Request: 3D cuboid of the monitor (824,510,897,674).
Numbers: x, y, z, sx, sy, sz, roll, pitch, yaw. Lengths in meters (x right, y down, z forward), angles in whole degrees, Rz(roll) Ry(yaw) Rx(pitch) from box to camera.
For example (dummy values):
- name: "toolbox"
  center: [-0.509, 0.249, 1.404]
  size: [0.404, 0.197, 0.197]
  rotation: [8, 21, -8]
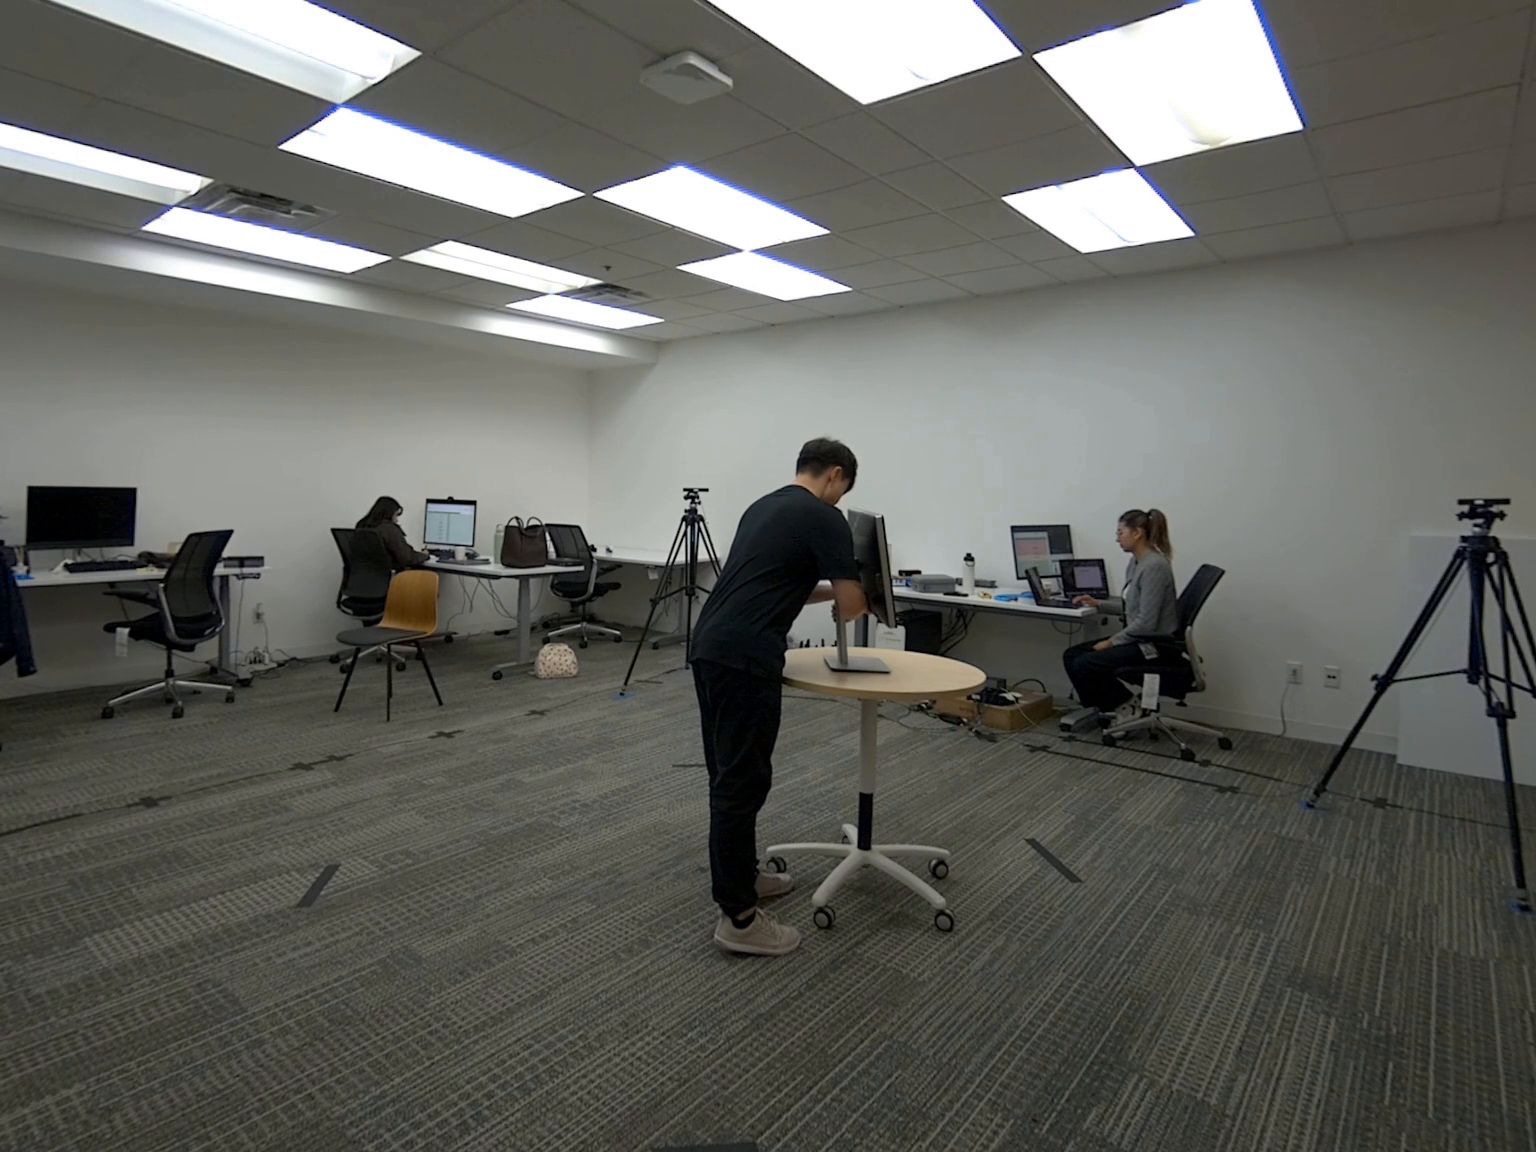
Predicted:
- name: "monitor"
  center: [0.304, 0.052, 2.956]
  size: [0.186, 0.520, 0.545]
  rotation: [2, 5, -7]
